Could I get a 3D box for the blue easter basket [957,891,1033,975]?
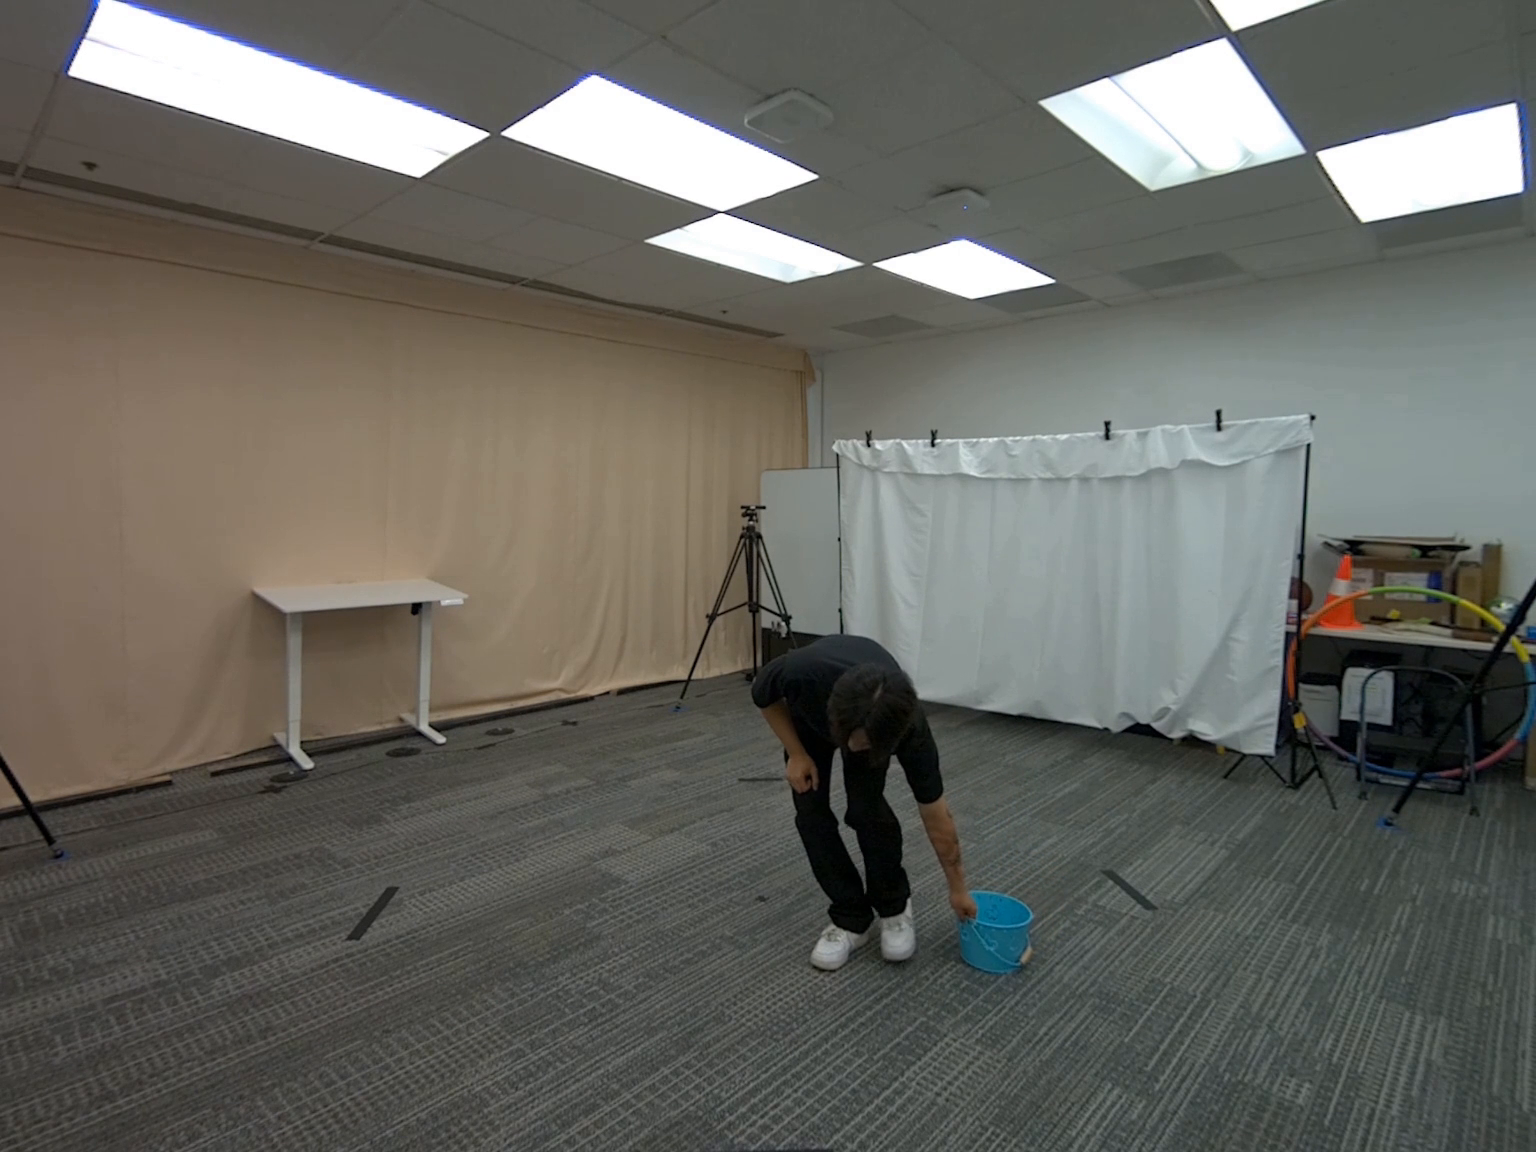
[{"bbox_3d":[0.700,1.099,2.587,0.243,0.155,0.244,0,4,-2],"label":"blue easter basket"}]
